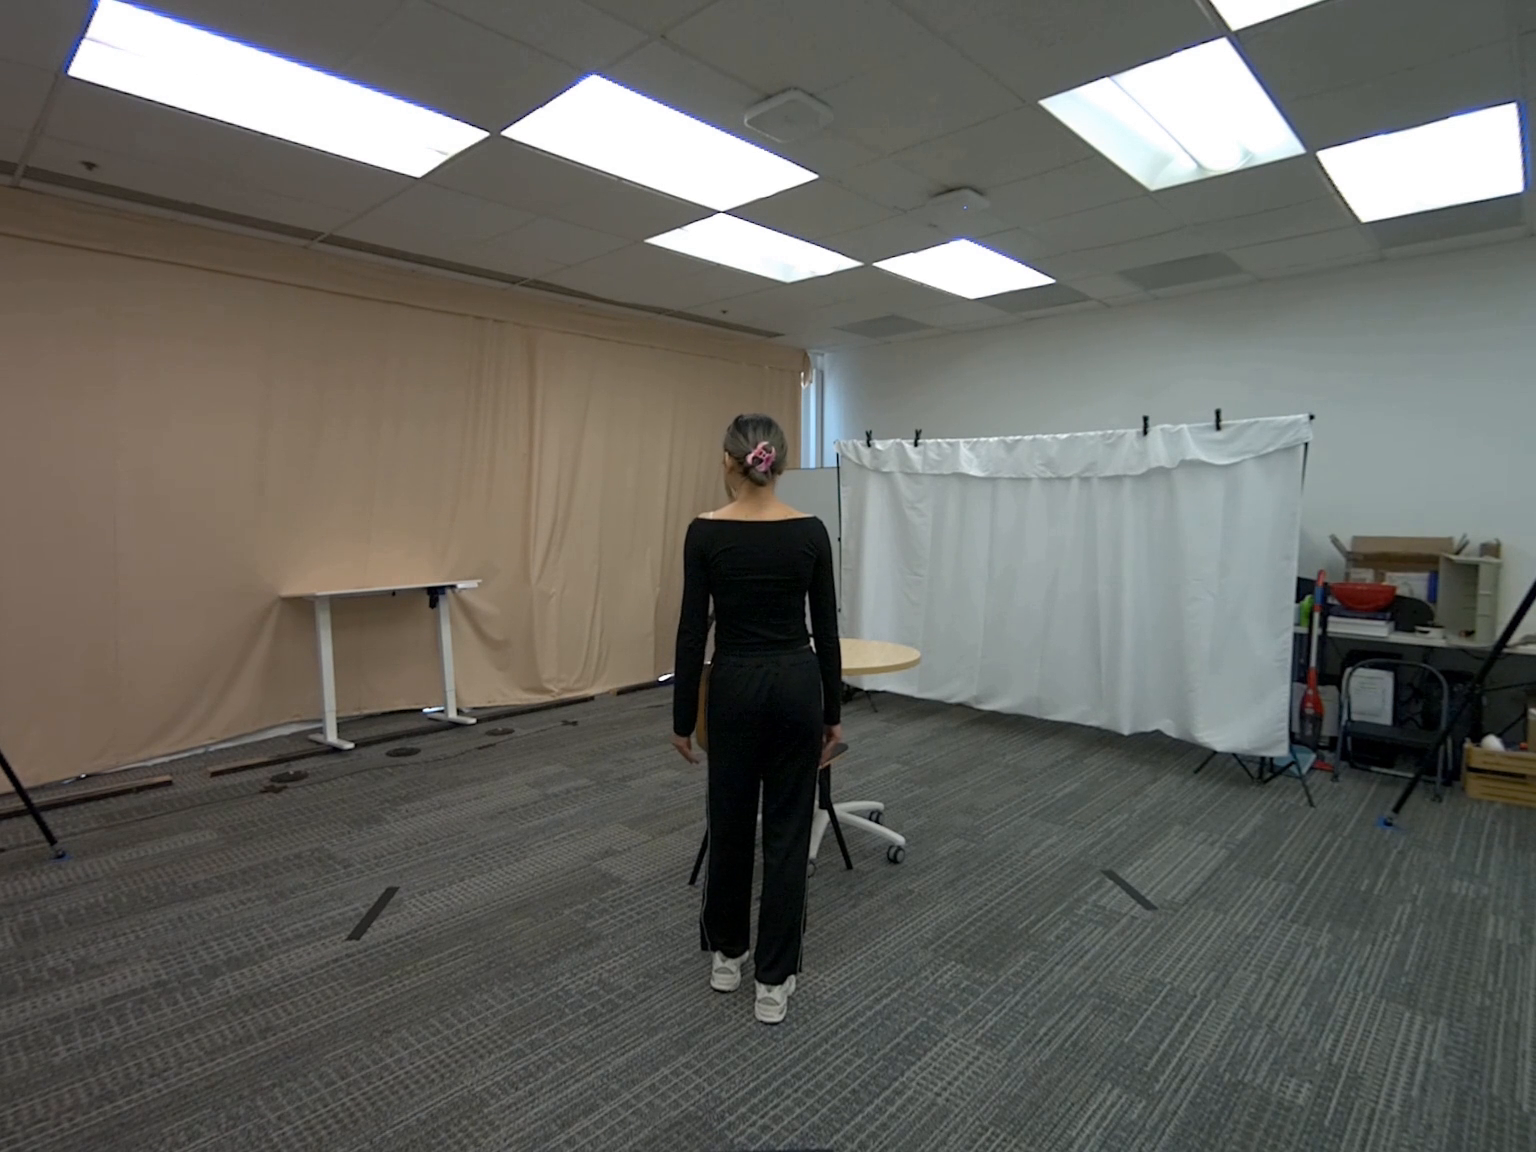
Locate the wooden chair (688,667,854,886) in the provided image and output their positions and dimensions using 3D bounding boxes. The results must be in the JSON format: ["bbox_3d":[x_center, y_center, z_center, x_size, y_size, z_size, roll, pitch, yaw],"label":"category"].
[{"bbox_3d":[0.016,0.699,3.134,0.492,0.873,0.510,1,8,33],"label":"wooden chair"}]
